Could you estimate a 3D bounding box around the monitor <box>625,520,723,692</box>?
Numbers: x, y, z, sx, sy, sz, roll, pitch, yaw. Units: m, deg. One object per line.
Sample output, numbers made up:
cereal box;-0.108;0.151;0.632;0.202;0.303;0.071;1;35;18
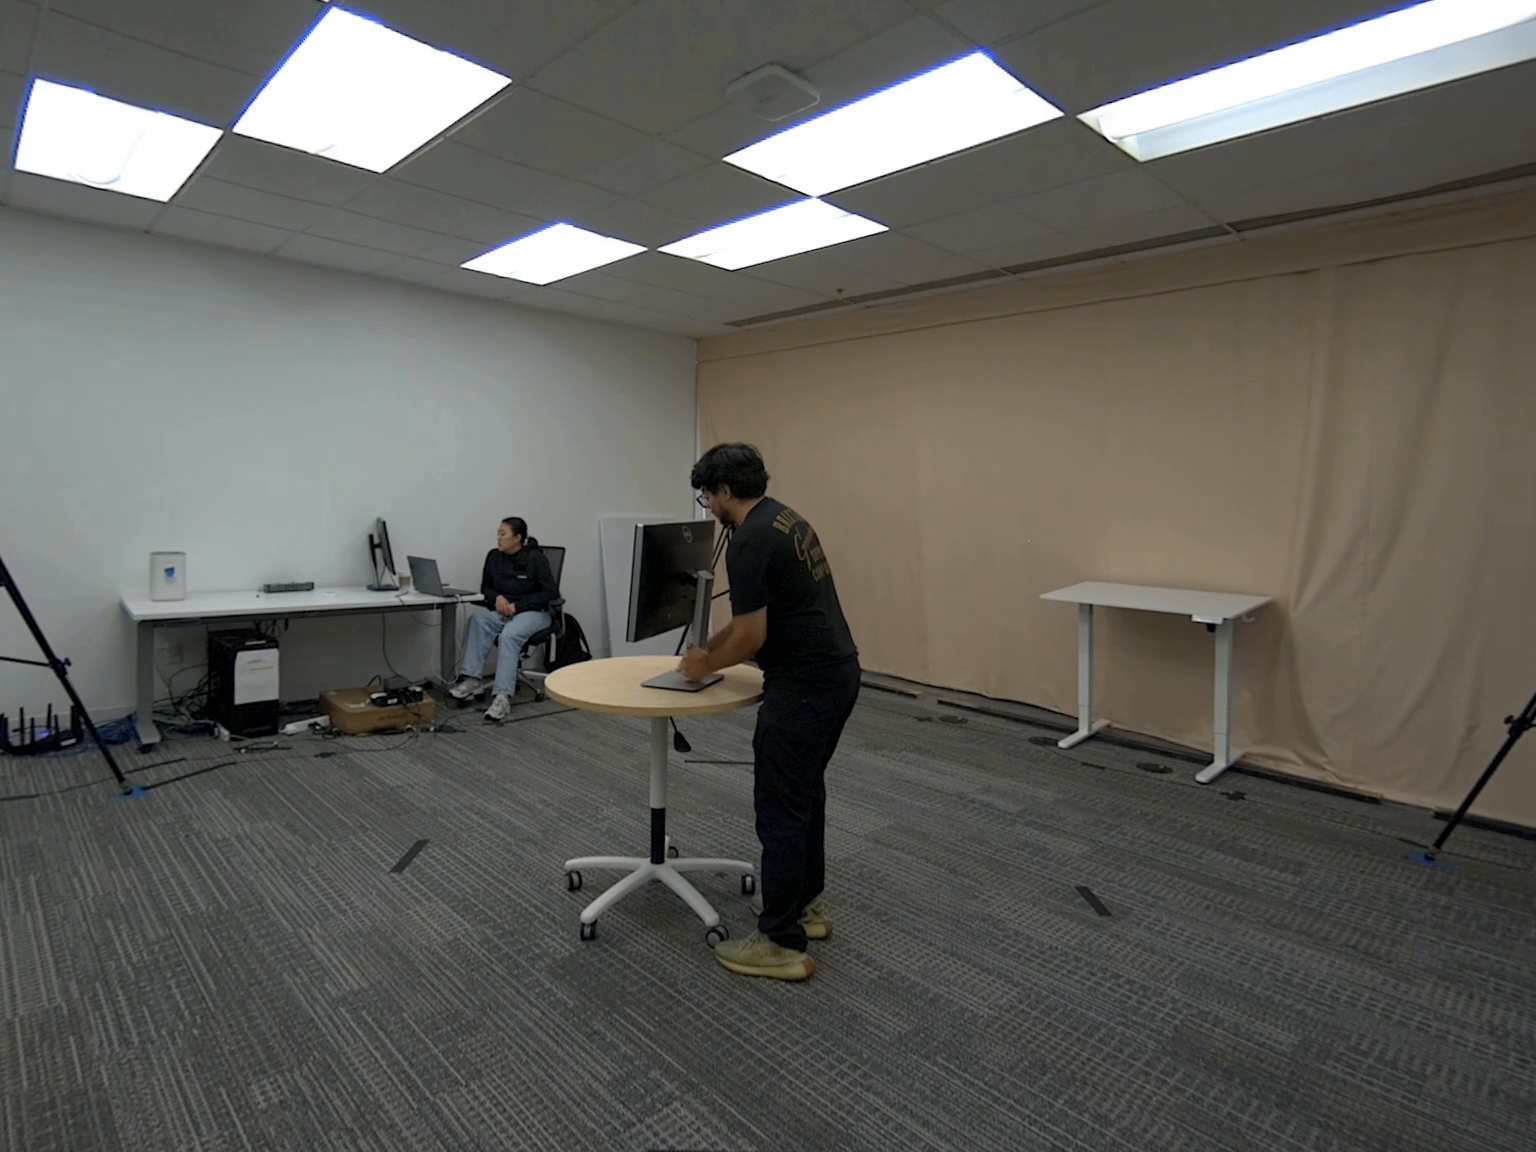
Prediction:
monitor;-0.256;0.094;2.763;0.214;0.552;0.558;5;6;20
